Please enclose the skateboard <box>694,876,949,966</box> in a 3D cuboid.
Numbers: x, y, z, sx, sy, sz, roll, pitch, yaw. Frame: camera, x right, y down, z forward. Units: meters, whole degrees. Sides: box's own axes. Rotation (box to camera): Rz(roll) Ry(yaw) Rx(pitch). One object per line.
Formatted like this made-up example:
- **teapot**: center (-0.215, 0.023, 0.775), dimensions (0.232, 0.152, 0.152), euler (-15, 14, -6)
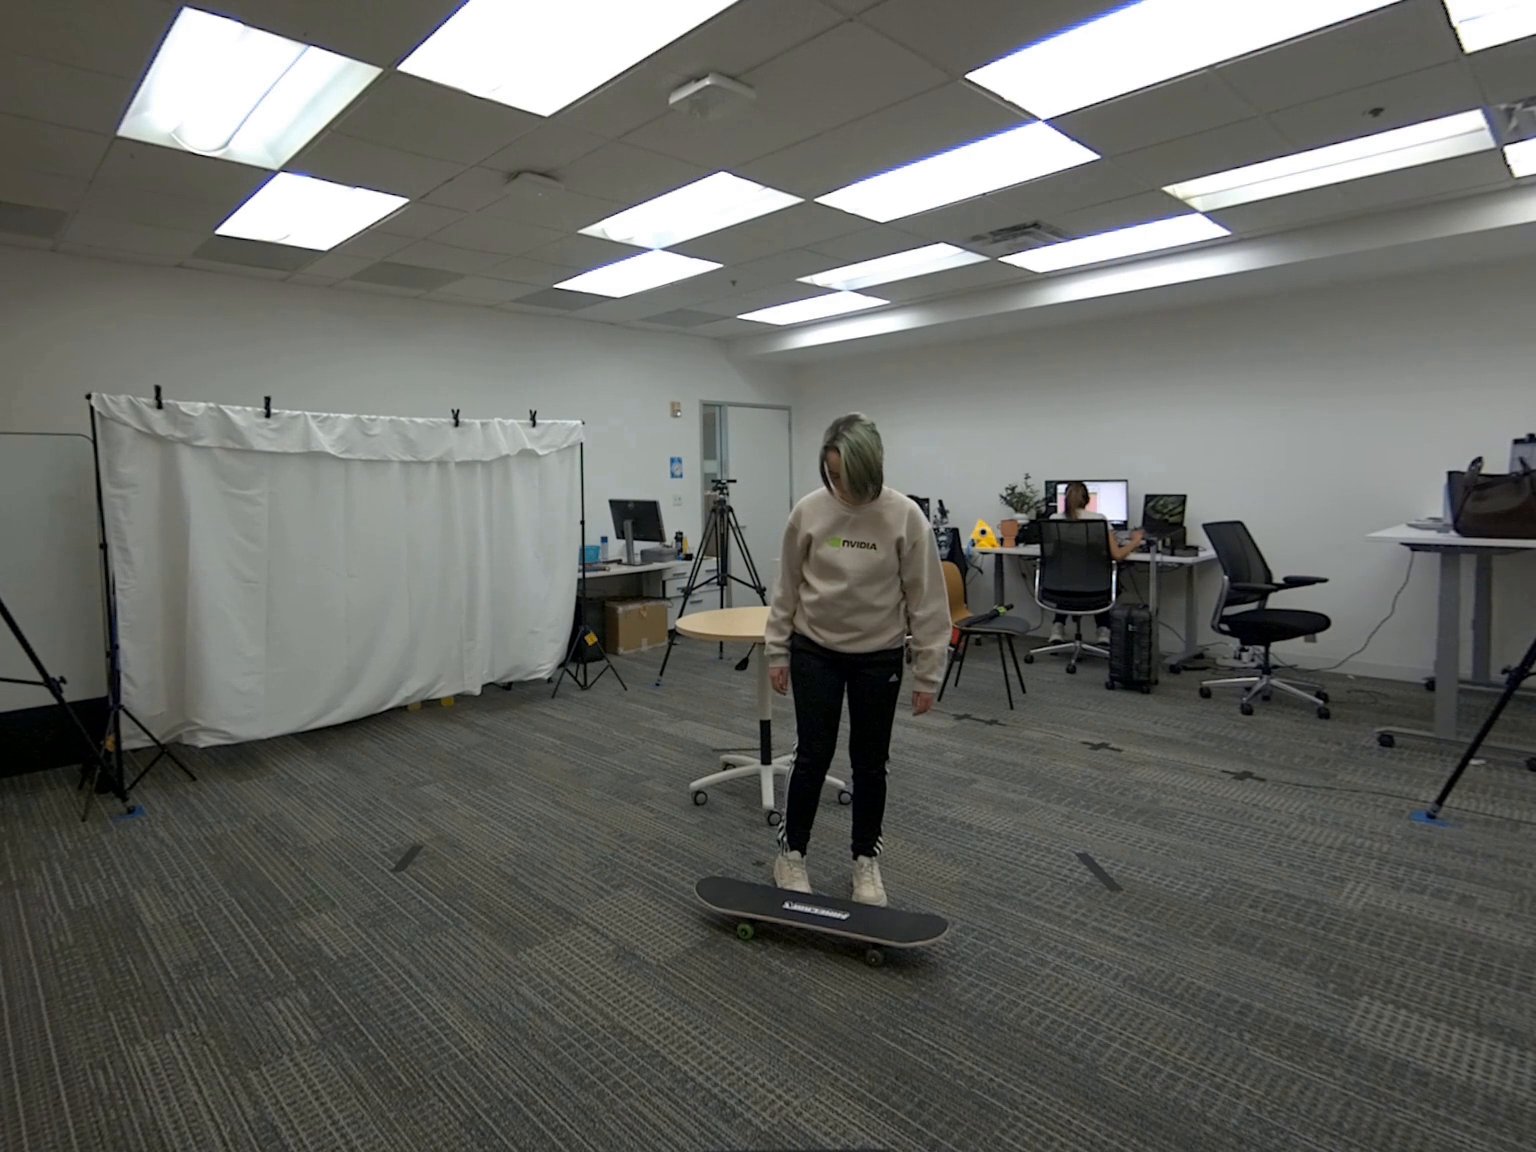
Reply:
- **skateboard**: center (0.149, 1.044, 2.590), dimensions (0.803, 0.110, 0.190), euler (2, 6, 23)
